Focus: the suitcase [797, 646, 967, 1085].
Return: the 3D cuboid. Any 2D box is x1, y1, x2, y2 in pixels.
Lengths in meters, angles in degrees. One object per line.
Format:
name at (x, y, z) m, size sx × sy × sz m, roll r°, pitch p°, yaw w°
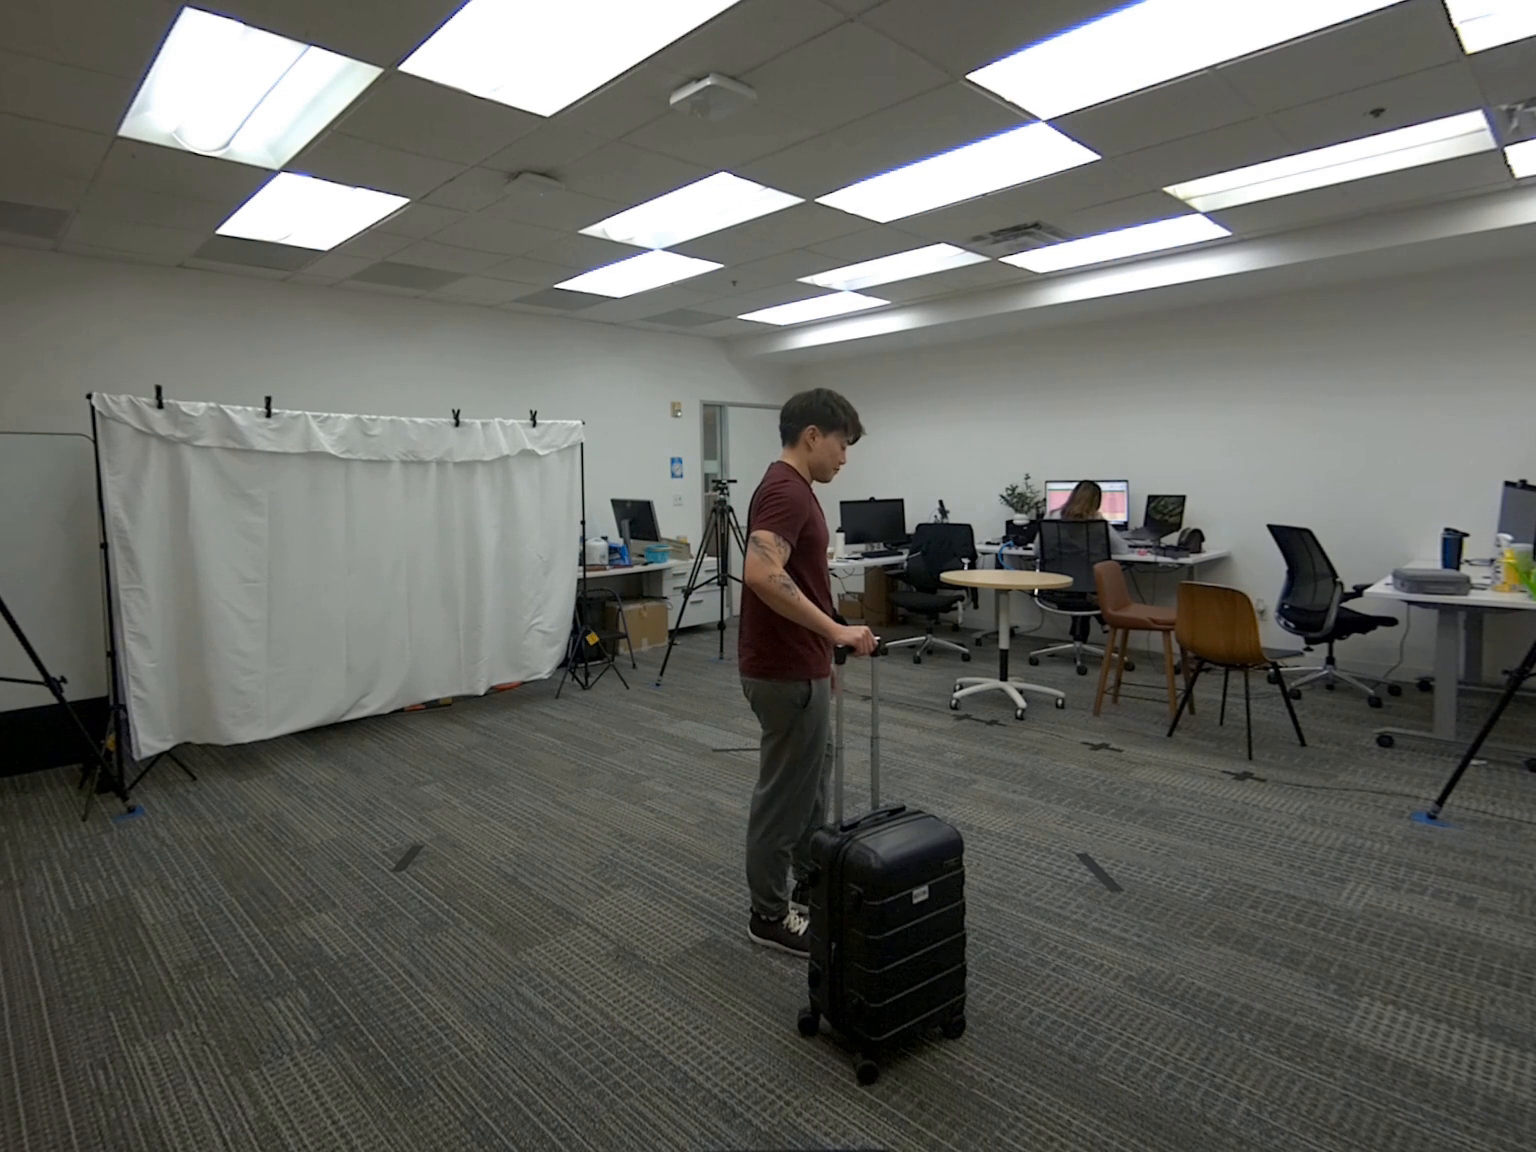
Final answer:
suitcase at (0.312, 0.678, 2.120) m, size 0.374 × 0.974 × 0.265 m, roll -2°, pitch 6°, yaw -38°
